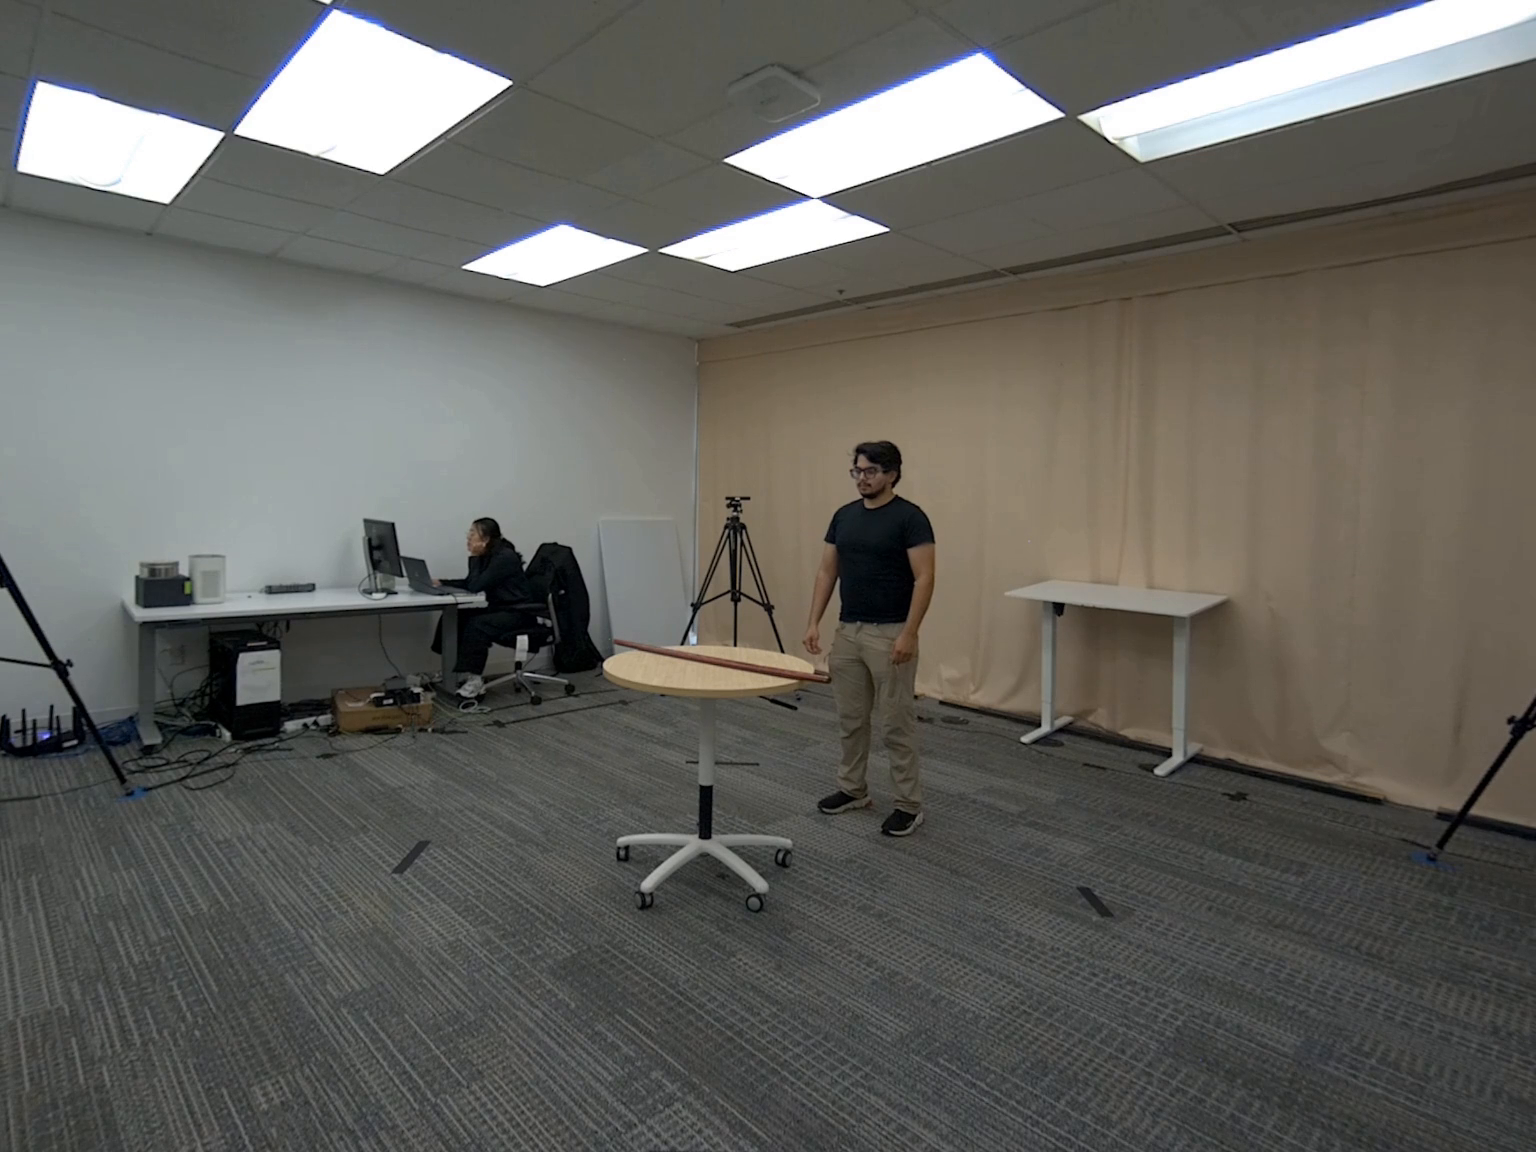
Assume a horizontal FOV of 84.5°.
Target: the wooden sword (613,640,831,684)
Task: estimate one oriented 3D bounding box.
[{"bbox_3d":[-0.215,0.314,3.117,1.049,0.023,0.051,5,34,35],"label":"wooden sword"}]
